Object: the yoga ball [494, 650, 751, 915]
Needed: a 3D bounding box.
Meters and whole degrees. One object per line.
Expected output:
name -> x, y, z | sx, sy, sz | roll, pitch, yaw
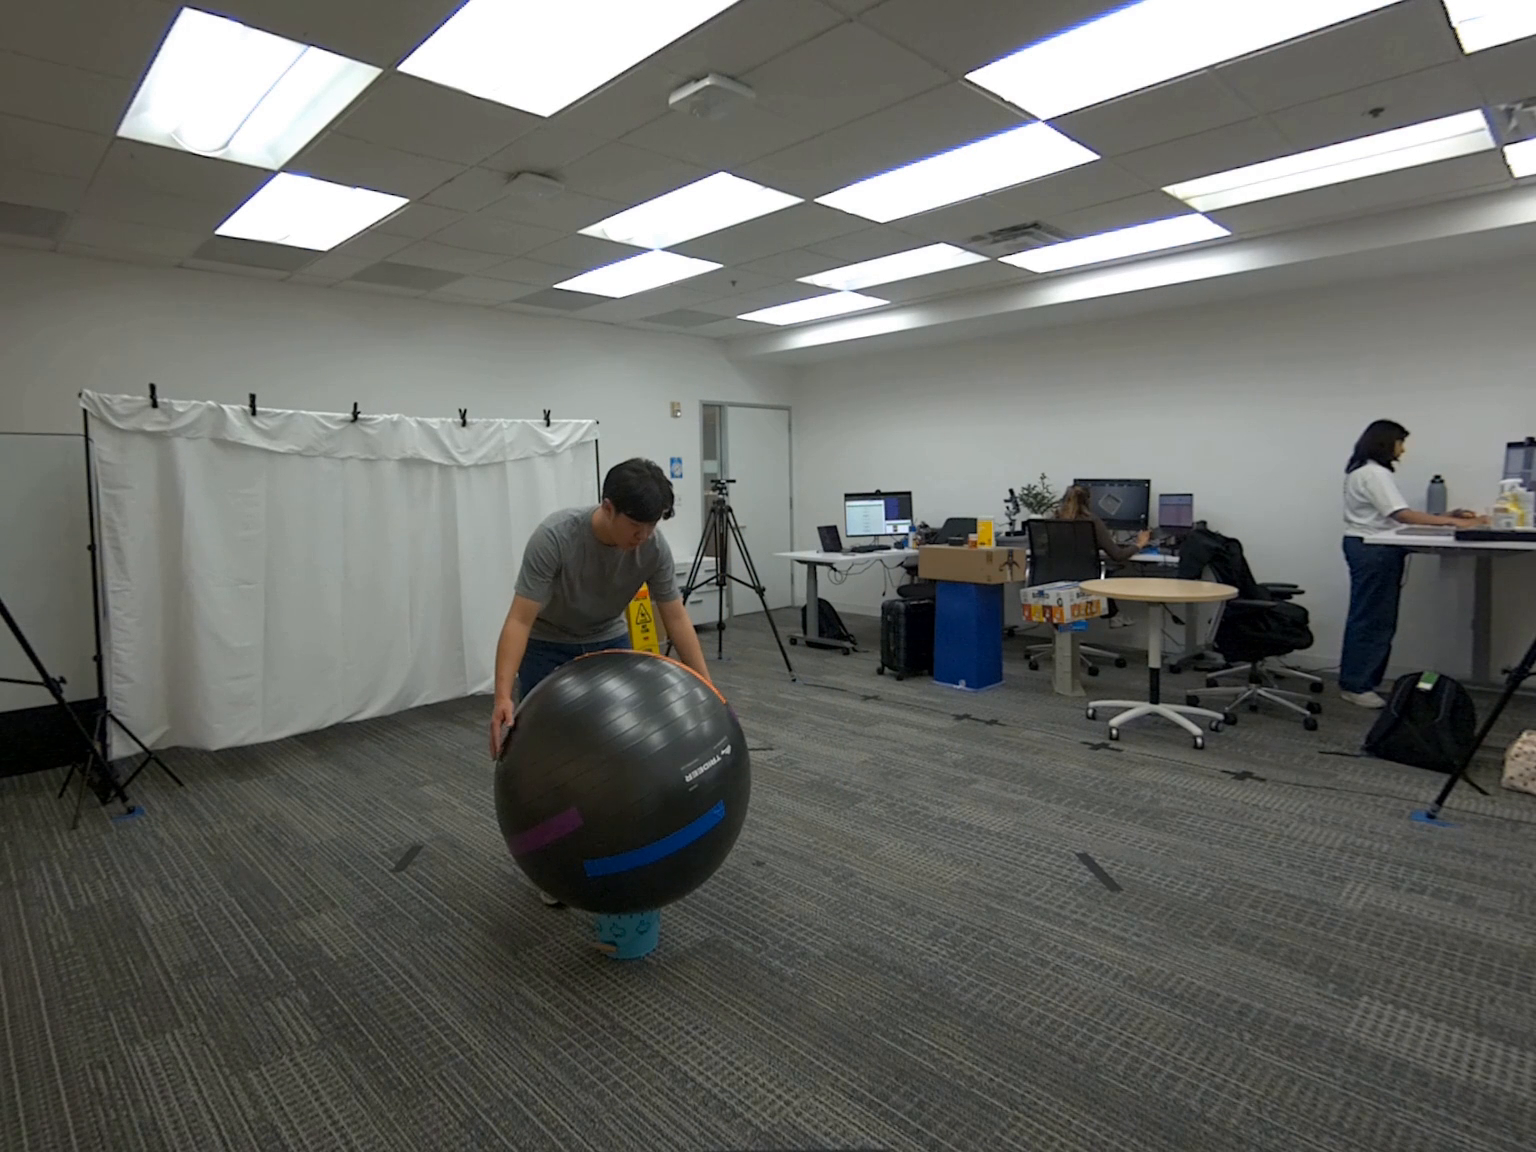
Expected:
yoga ball -> -0.428, 0.612, 2.544 | 0.757, 0.755, 0.762 | -1, 5, -2
